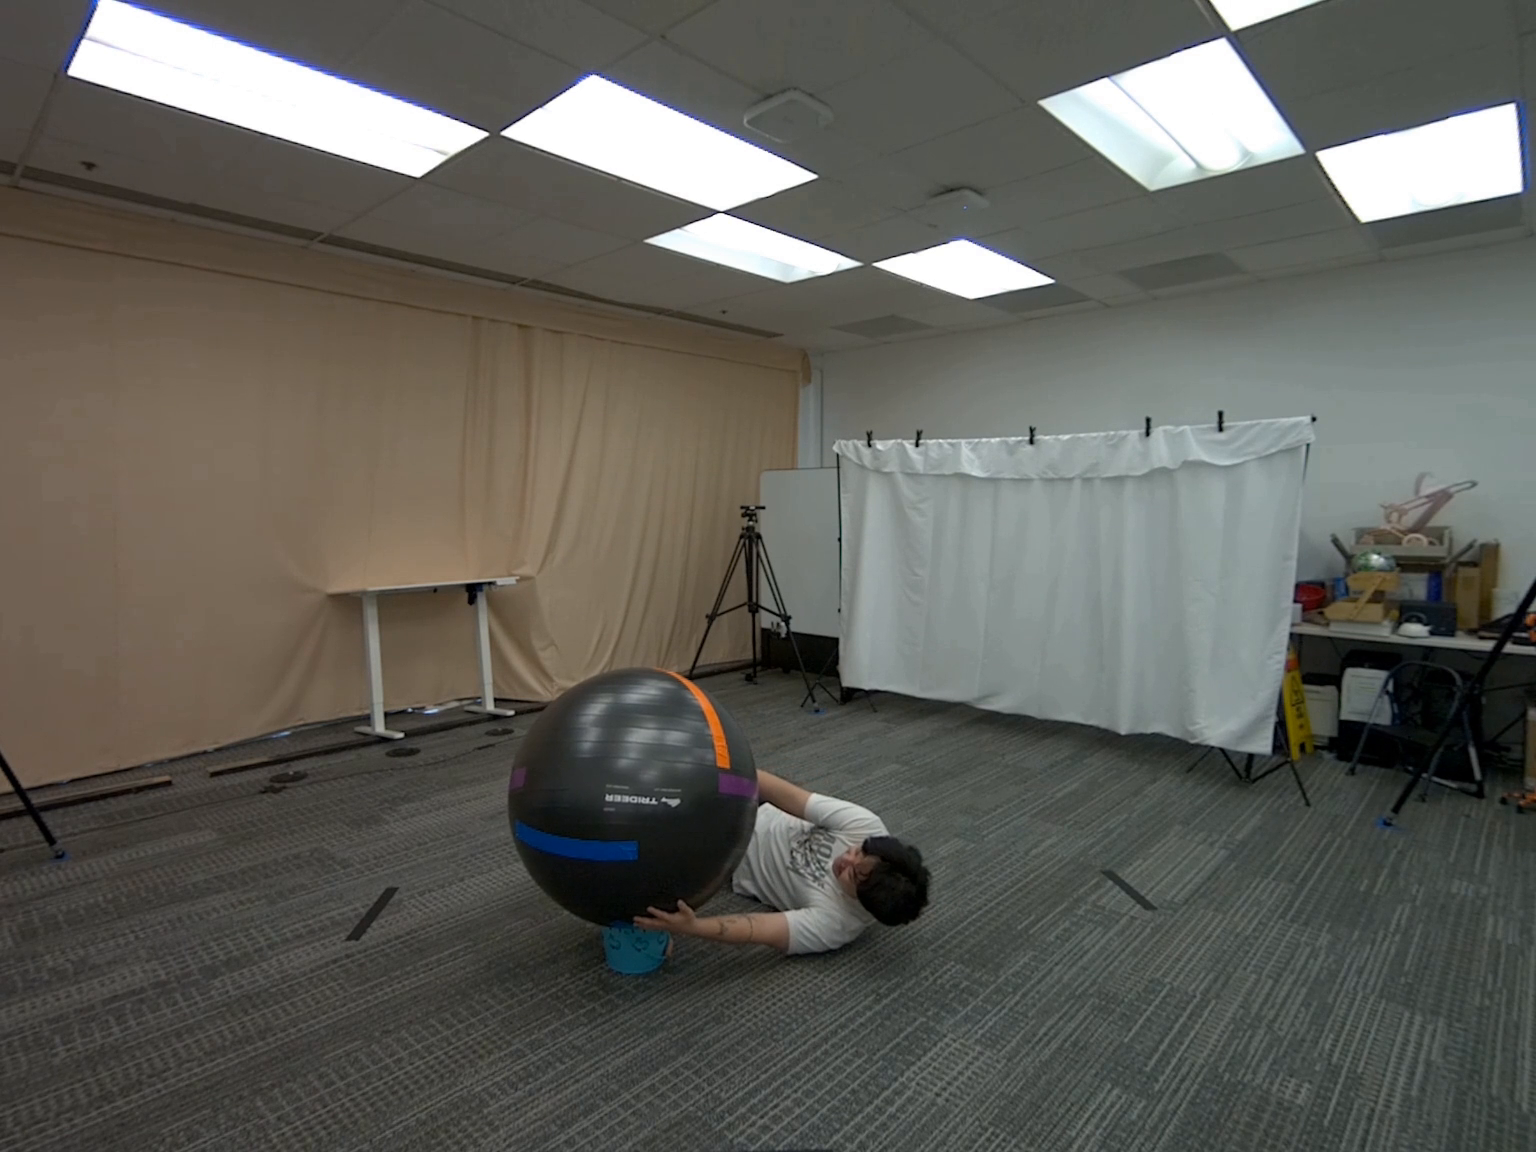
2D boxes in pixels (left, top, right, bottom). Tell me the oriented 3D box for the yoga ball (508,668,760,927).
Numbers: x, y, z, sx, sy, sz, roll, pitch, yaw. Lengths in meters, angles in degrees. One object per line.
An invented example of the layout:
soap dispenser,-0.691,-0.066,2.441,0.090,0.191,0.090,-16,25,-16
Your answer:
yoga ball,-0.421,0.670,2.579,0.757,0.756,0.761,0,4,-2
